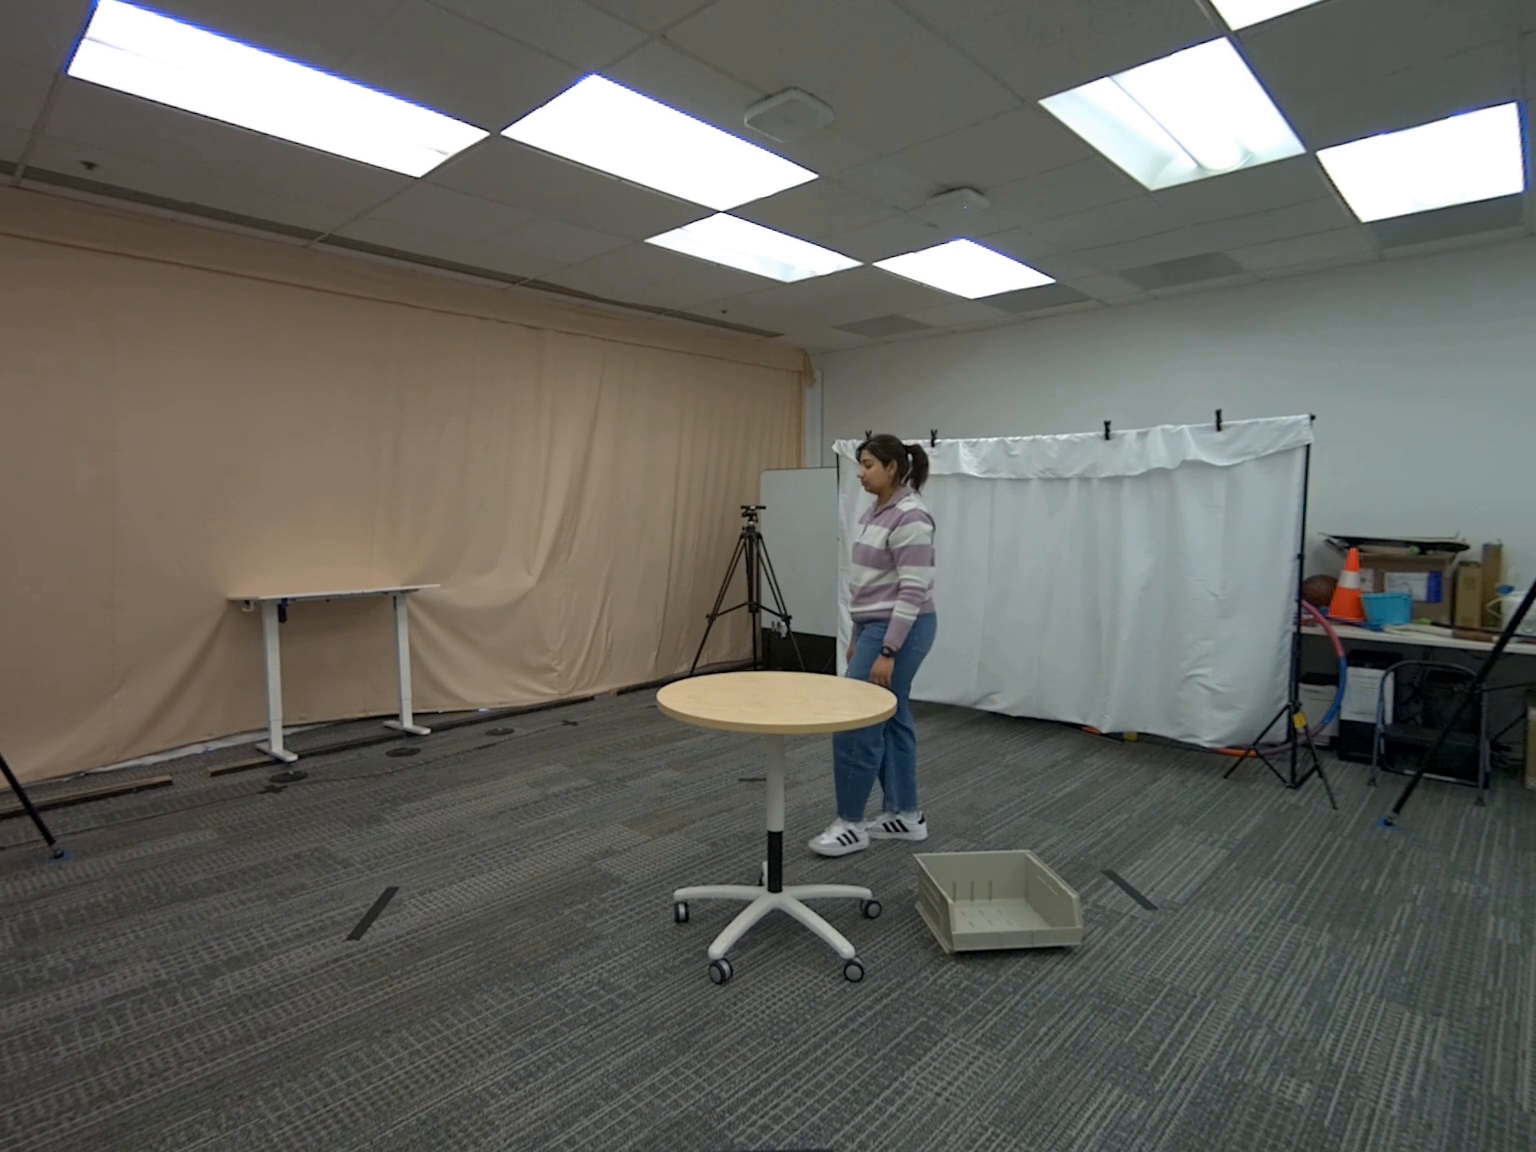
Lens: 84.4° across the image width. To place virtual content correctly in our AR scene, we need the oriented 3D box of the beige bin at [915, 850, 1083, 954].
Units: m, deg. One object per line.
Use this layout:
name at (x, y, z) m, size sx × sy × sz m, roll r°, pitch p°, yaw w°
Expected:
beige bin at (0.743, 1.069, 2.758) m, size 0.420 × 0.188 × 0.380 m, roll -1°, pitch 4°, yaw -6°
